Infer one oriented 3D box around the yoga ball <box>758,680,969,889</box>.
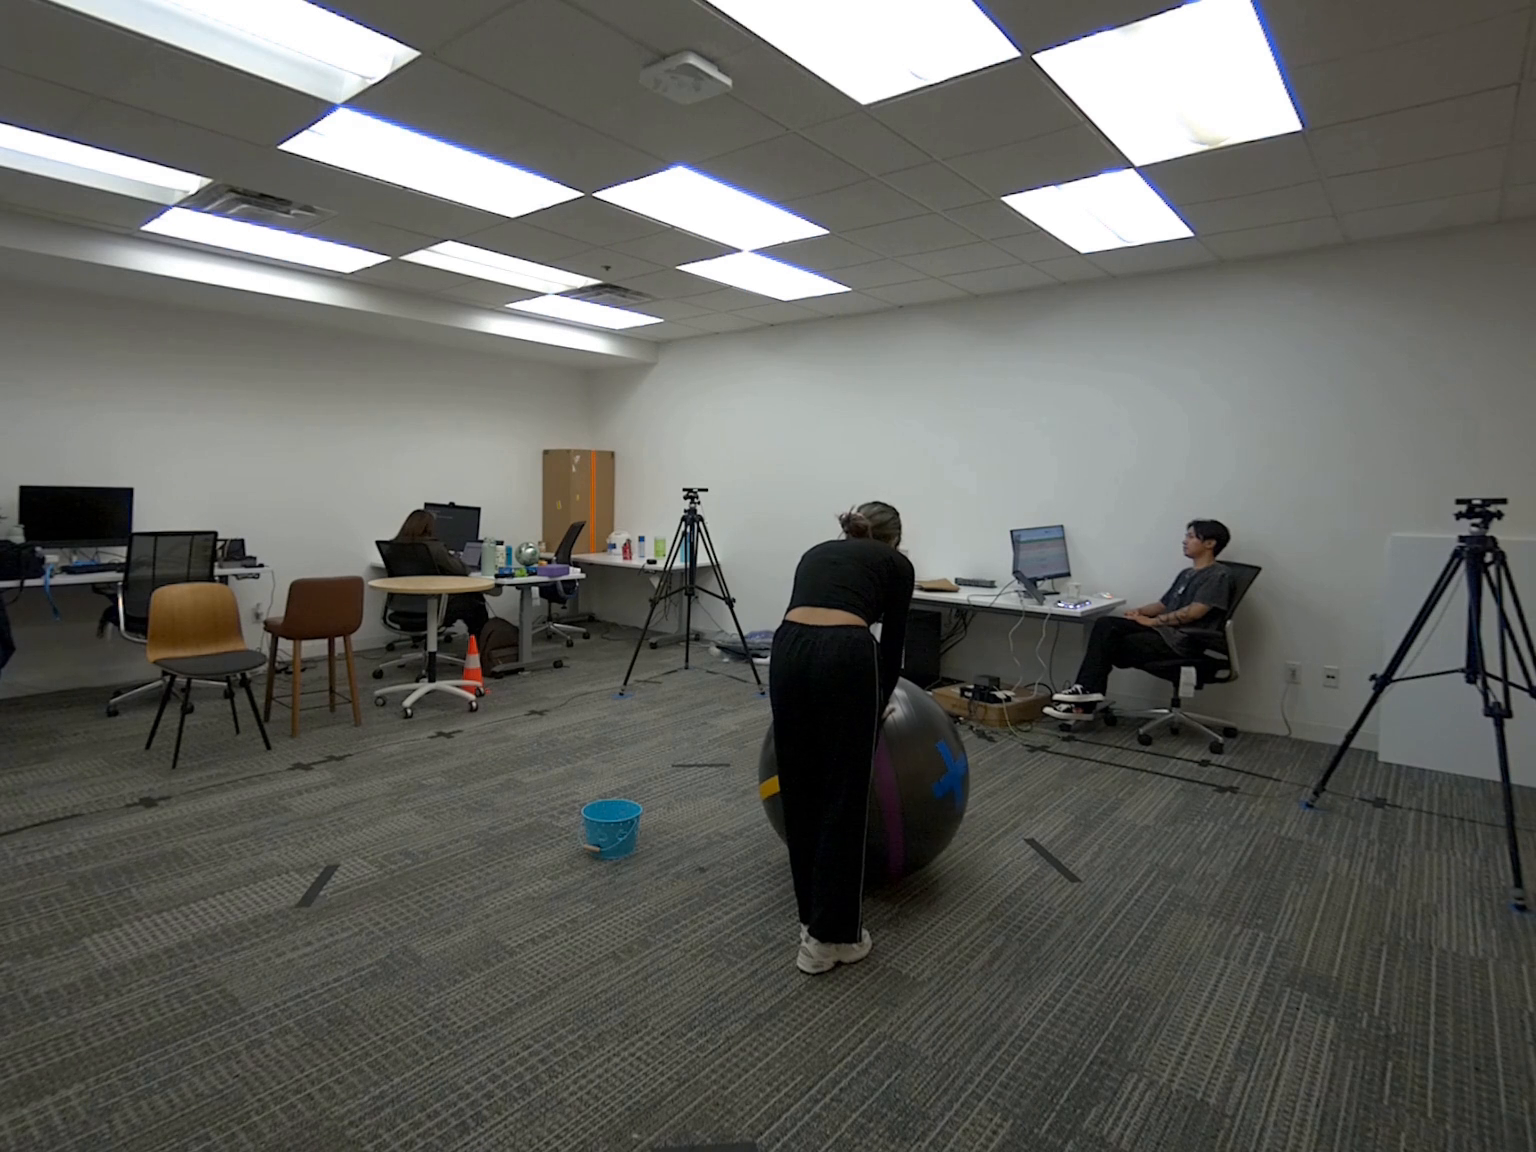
[{"bbox_3d":[0.335,0.719,3.118,0.757,0.755,0.762,1,4,-2],"label":"yoga ball"}]
